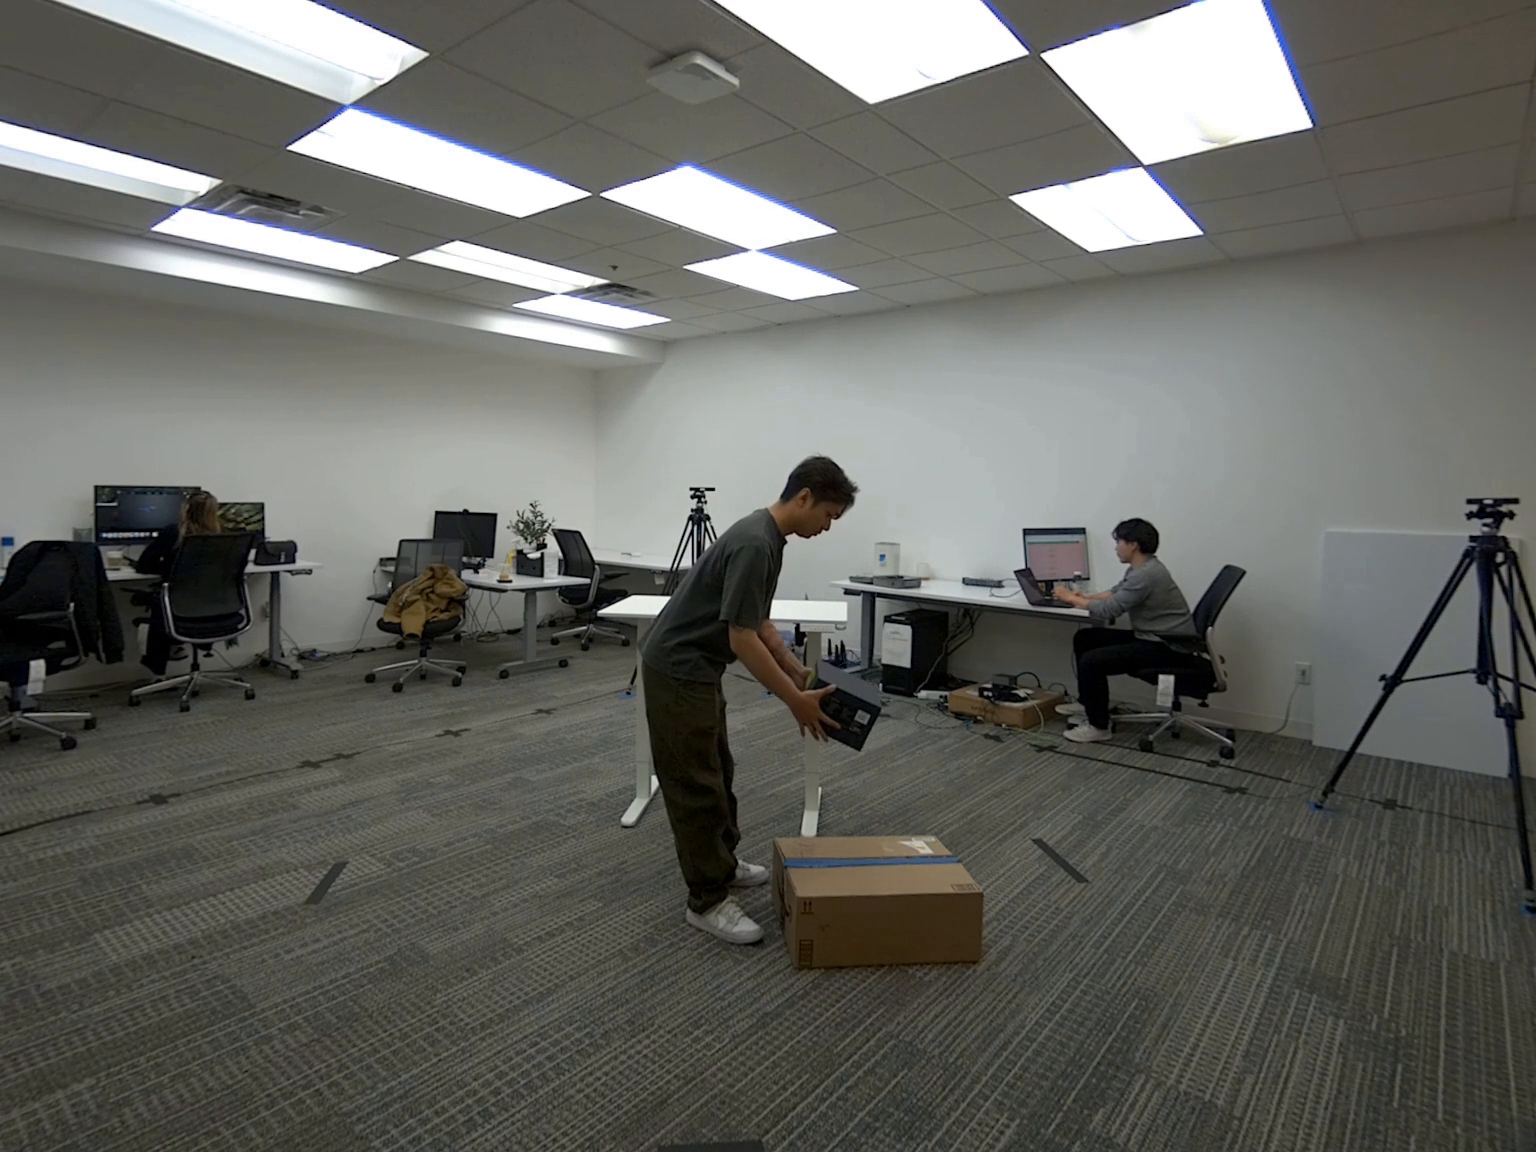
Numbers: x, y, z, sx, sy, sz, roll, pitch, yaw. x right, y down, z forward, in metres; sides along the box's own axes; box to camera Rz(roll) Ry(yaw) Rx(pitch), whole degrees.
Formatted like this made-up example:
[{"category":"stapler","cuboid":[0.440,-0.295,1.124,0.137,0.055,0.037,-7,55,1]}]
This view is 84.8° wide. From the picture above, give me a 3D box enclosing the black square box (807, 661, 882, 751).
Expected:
[{"category":"black square box","cuboid":[0.218,0.400,2.692,0.217,0.155,0.229,24,10,0]}]
